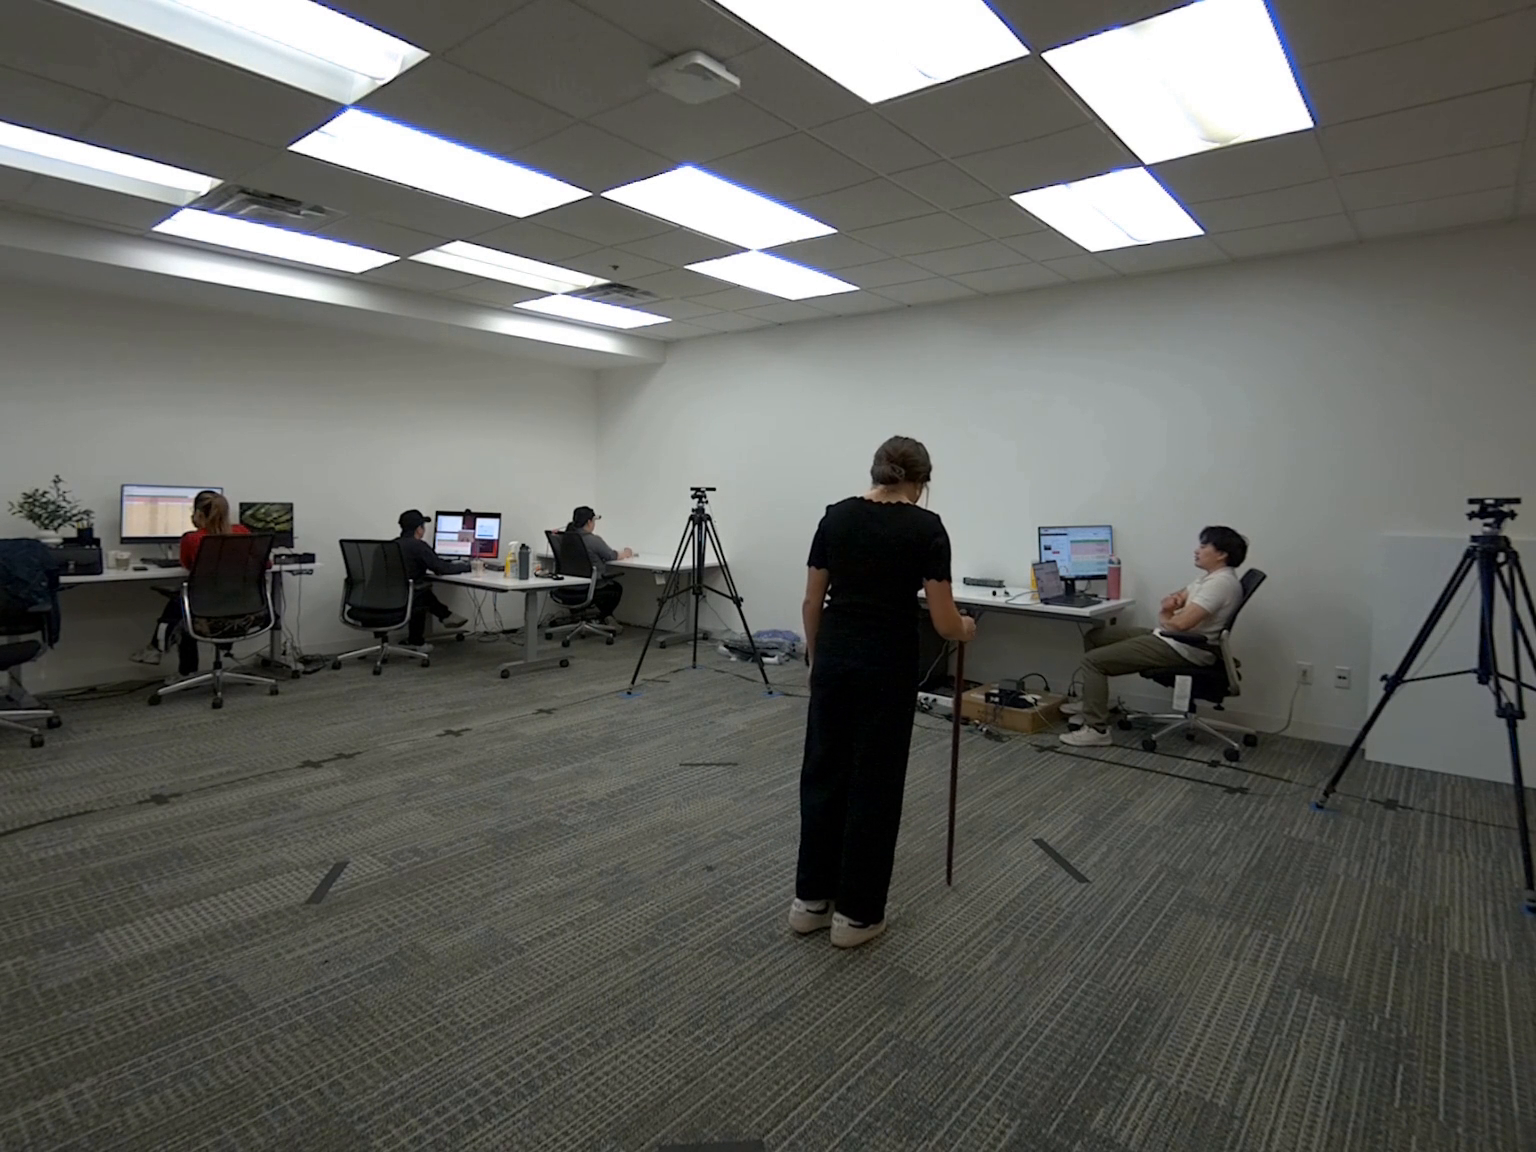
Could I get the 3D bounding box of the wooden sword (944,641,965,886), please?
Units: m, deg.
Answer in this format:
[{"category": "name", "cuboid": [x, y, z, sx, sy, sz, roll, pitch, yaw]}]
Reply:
[{"category": "wooden sword", "cuboid": [0.623, 0.619, 2.891, 0.025, 1.009, 0.050, 12, 20, 38]}]
